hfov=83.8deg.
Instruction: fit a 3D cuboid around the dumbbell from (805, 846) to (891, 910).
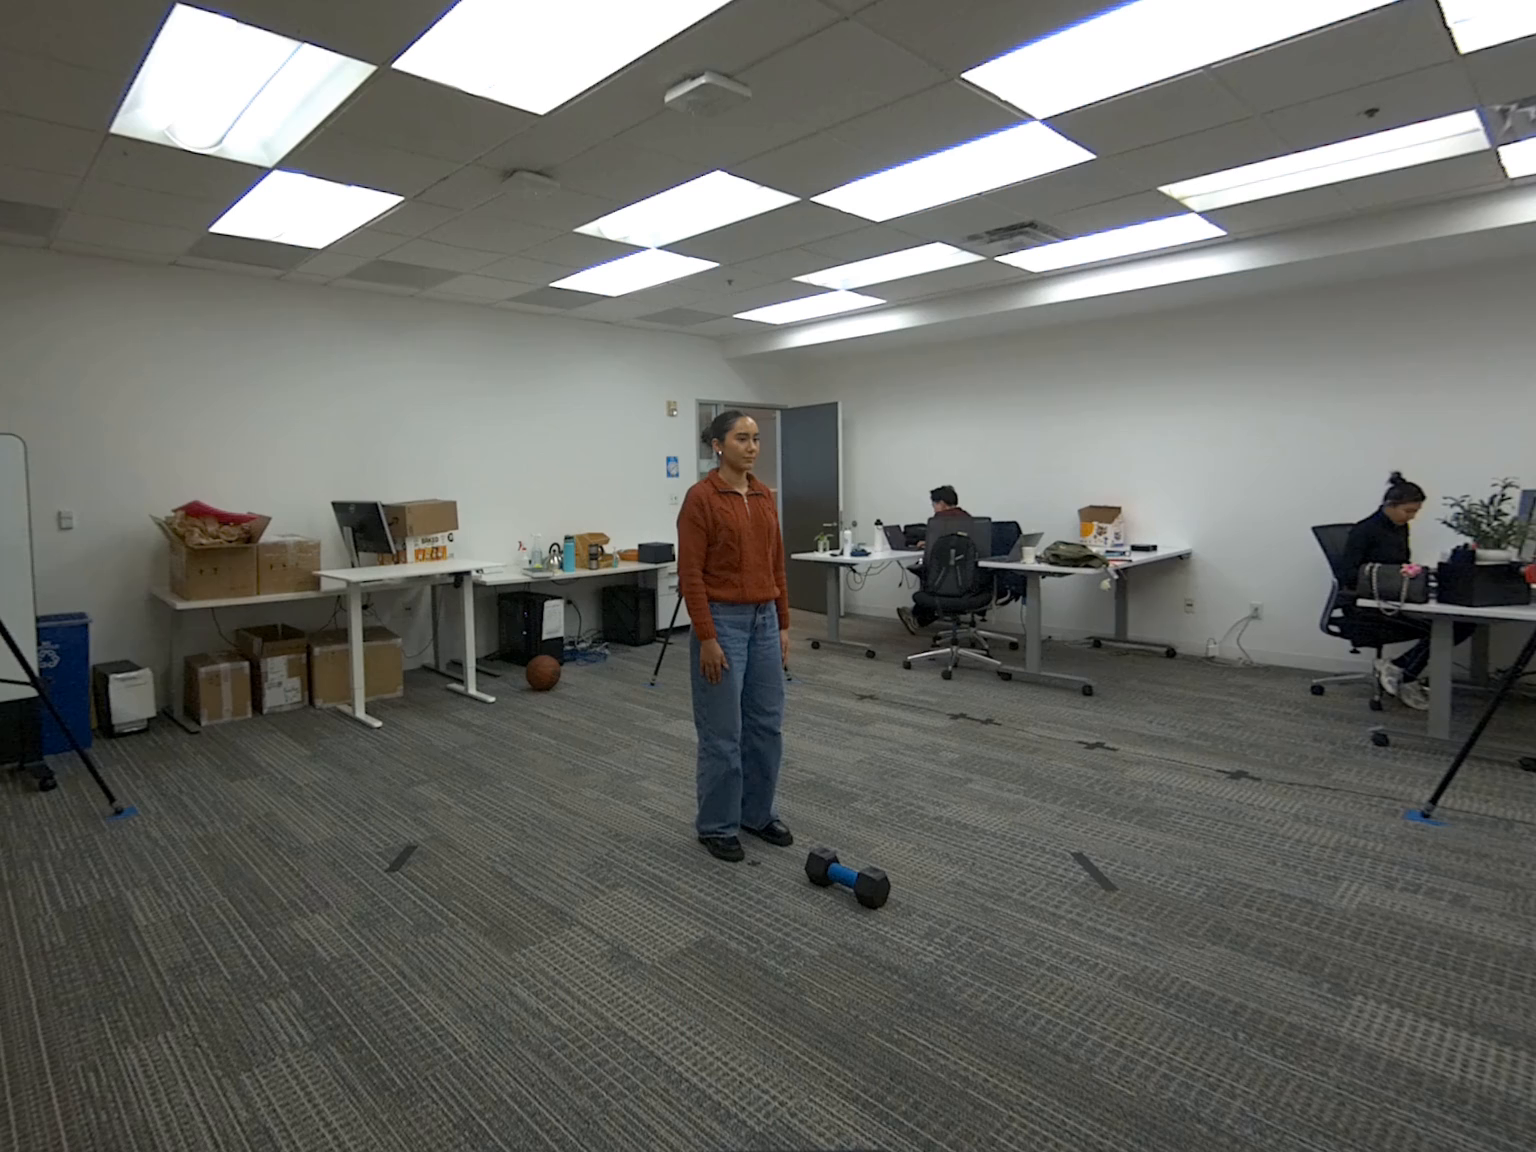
[{"bbox_3d":[0.270,1.011,2.871,0.120,0.108,0.303,-5,7,-44],"label":"dumbbell"}]
